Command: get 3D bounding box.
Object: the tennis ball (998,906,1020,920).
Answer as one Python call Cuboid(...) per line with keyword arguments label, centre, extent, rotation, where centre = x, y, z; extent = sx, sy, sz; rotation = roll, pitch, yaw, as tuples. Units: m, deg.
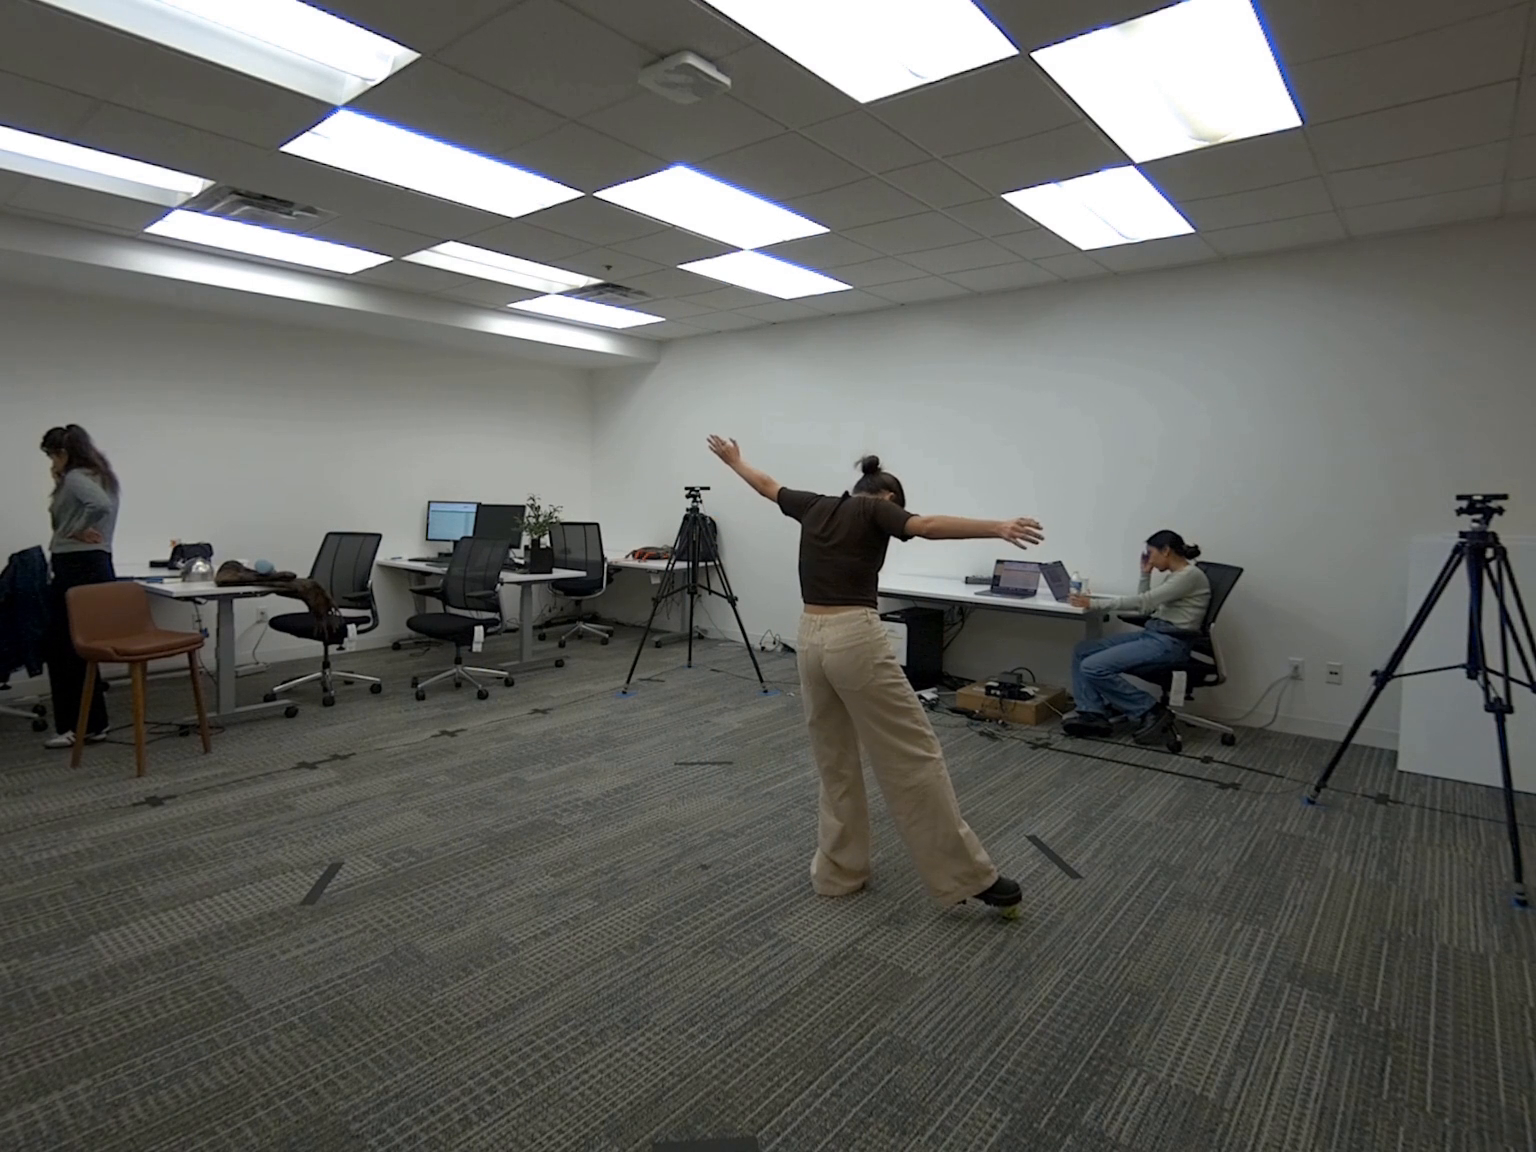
Cuboid(label="tennis ball", centre=(0.790, 1.082, 2.799), extent=(0.066, 0.066, 0.067), rotation=(1, 4, -2))
